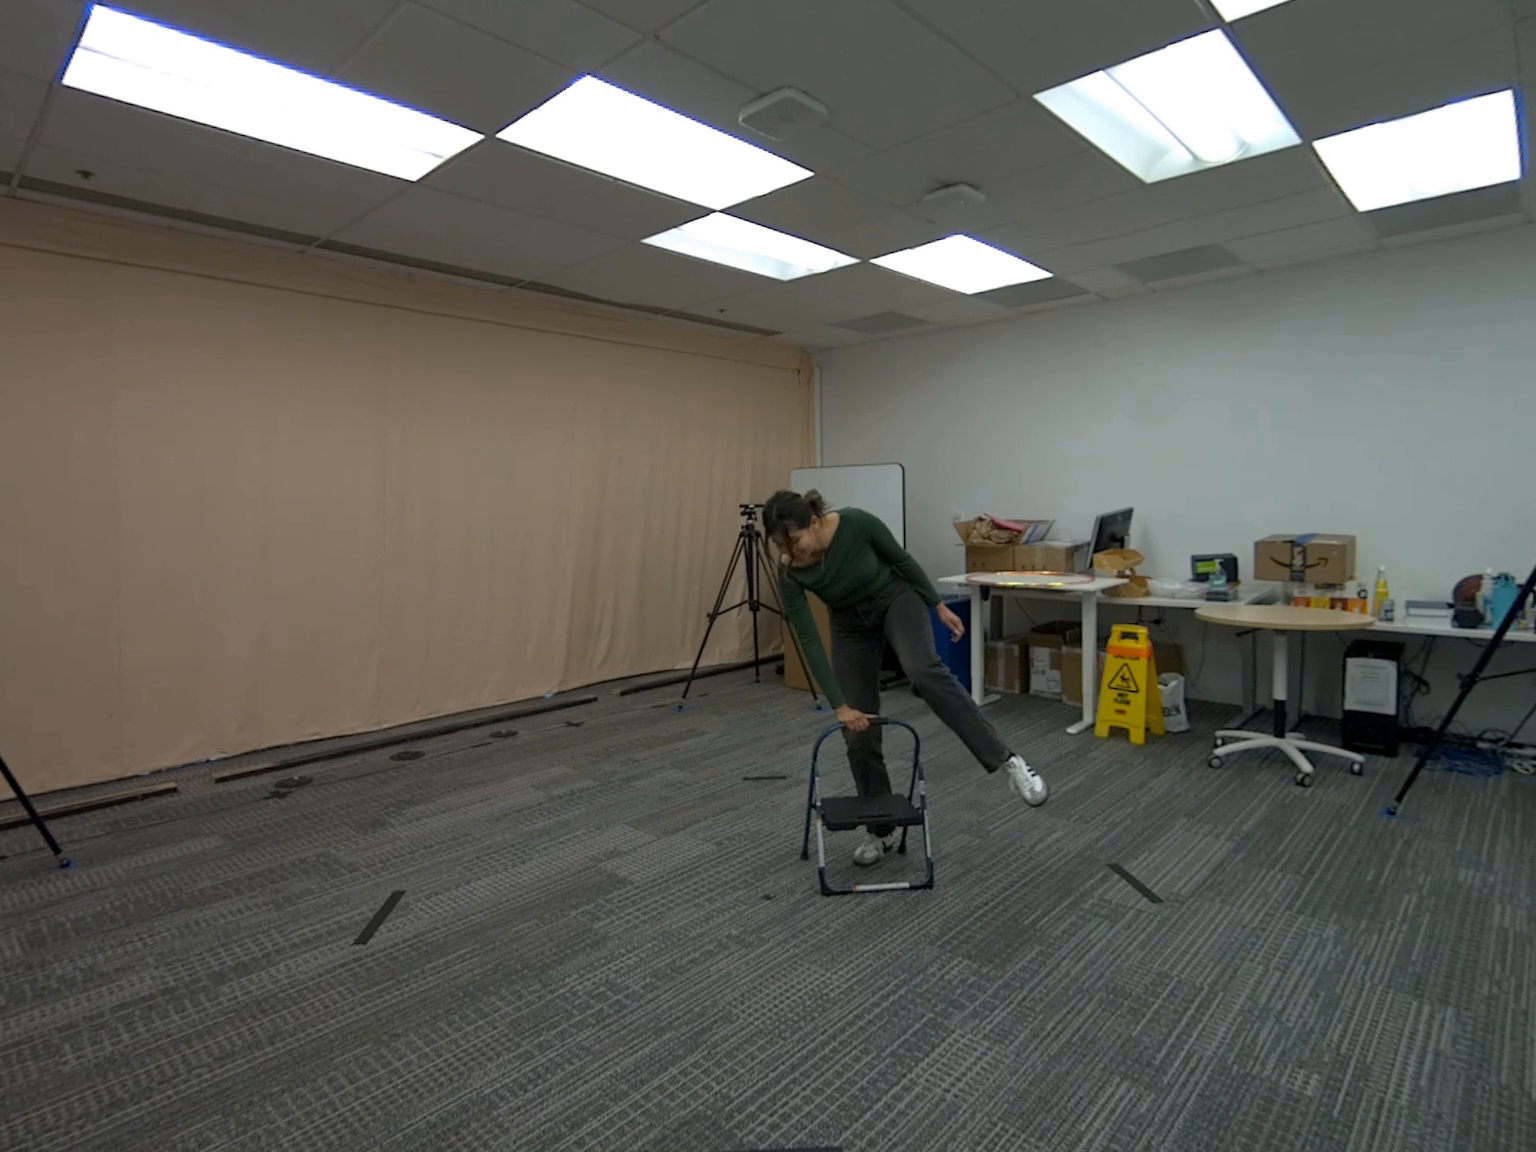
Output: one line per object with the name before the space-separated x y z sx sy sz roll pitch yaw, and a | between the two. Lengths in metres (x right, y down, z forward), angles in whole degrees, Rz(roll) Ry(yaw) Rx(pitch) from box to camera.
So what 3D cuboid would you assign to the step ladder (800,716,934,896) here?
step ladder | 0.364 0.818 3.144 0.427 0.604 0.353 0 5 -8
